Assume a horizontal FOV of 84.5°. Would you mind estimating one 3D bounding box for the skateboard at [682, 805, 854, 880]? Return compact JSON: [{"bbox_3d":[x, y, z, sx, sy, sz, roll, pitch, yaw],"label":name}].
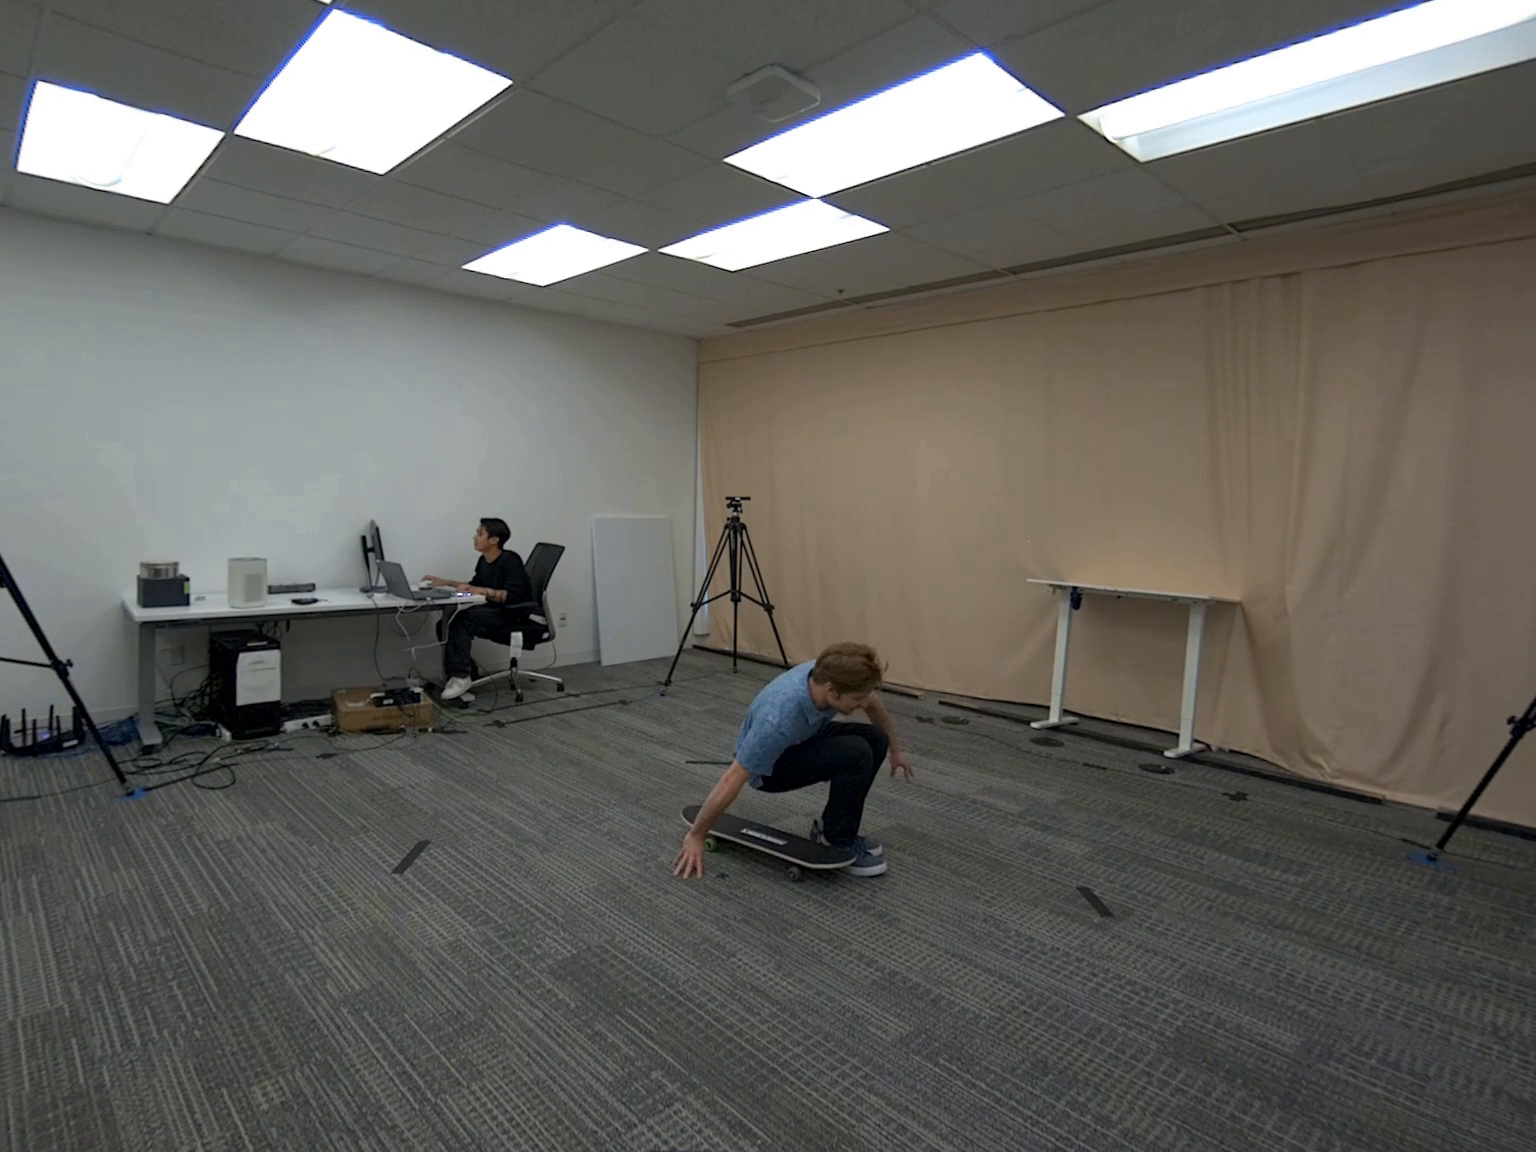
[{"bbox_3d":[-0.022,1.036,3.261,0.805,0.110,0.189,5,5,37],"label":"skateboard"}]
